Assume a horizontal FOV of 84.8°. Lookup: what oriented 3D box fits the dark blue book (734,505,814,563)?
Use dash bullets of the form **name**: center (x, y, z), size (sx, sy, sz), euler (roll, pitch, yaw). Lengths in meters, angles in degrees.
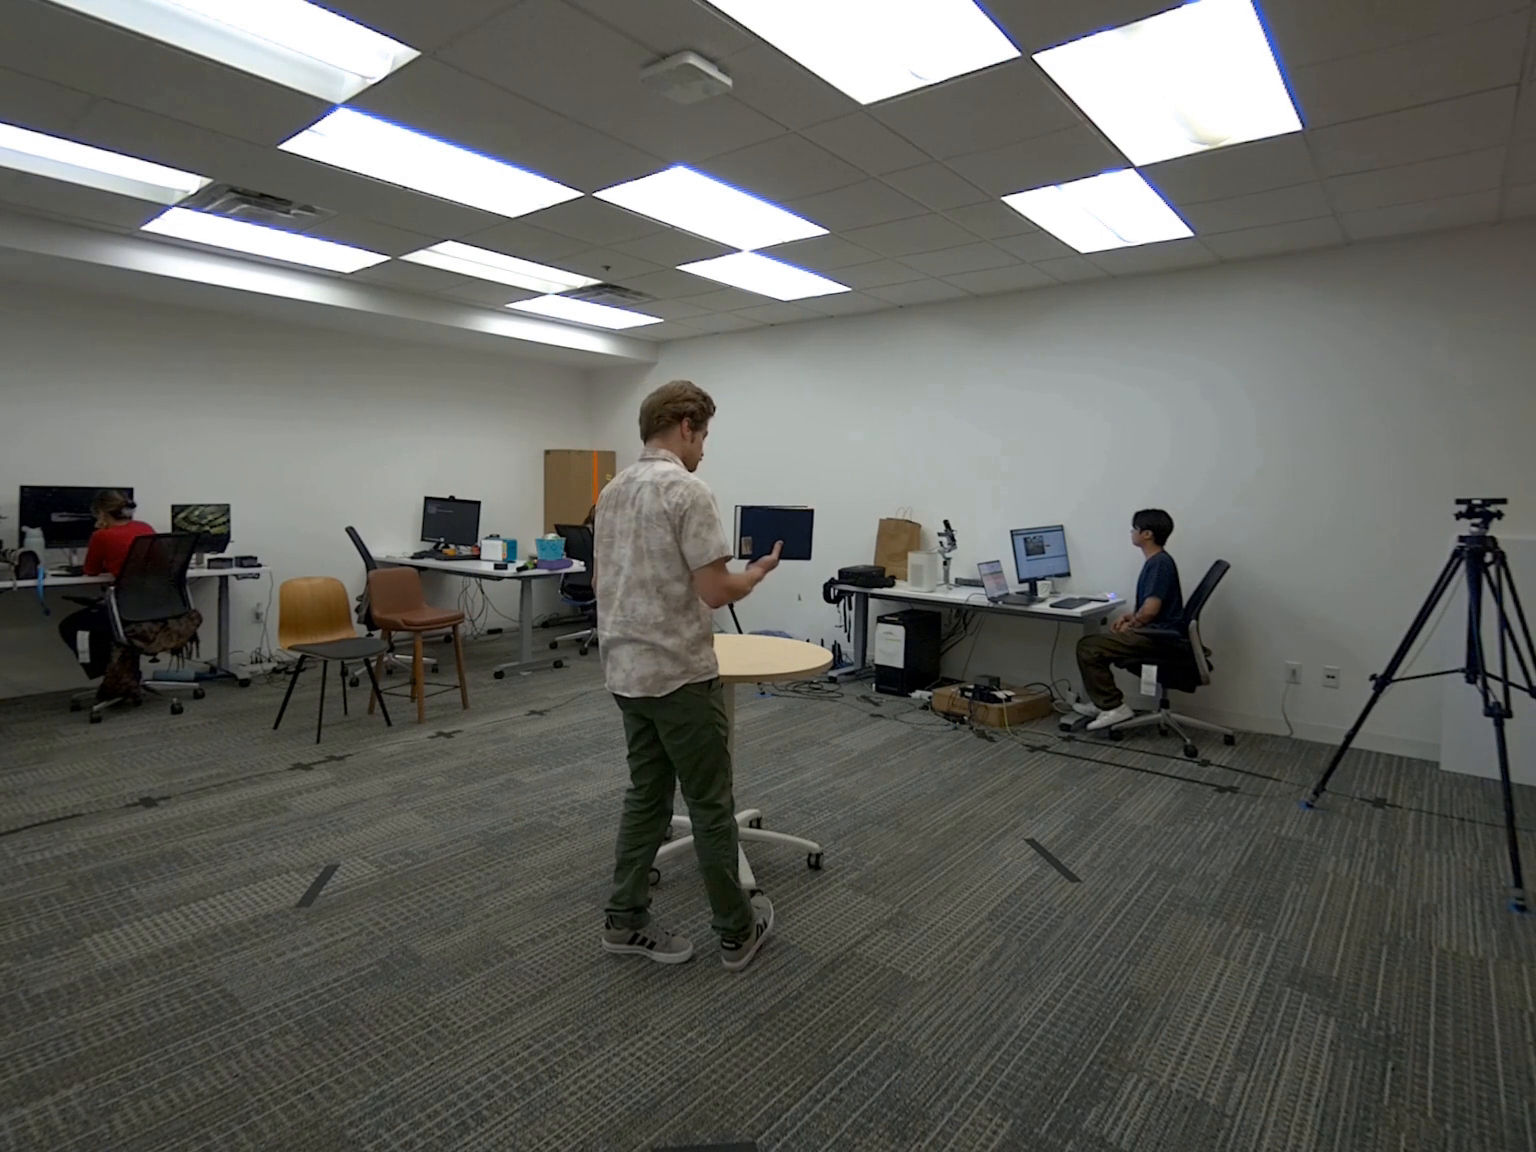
- **dark blue book**: center (0.014, -0.138, 2.615), size (0.240, 0.162, 0.046), euler (-1, 9, -19)
